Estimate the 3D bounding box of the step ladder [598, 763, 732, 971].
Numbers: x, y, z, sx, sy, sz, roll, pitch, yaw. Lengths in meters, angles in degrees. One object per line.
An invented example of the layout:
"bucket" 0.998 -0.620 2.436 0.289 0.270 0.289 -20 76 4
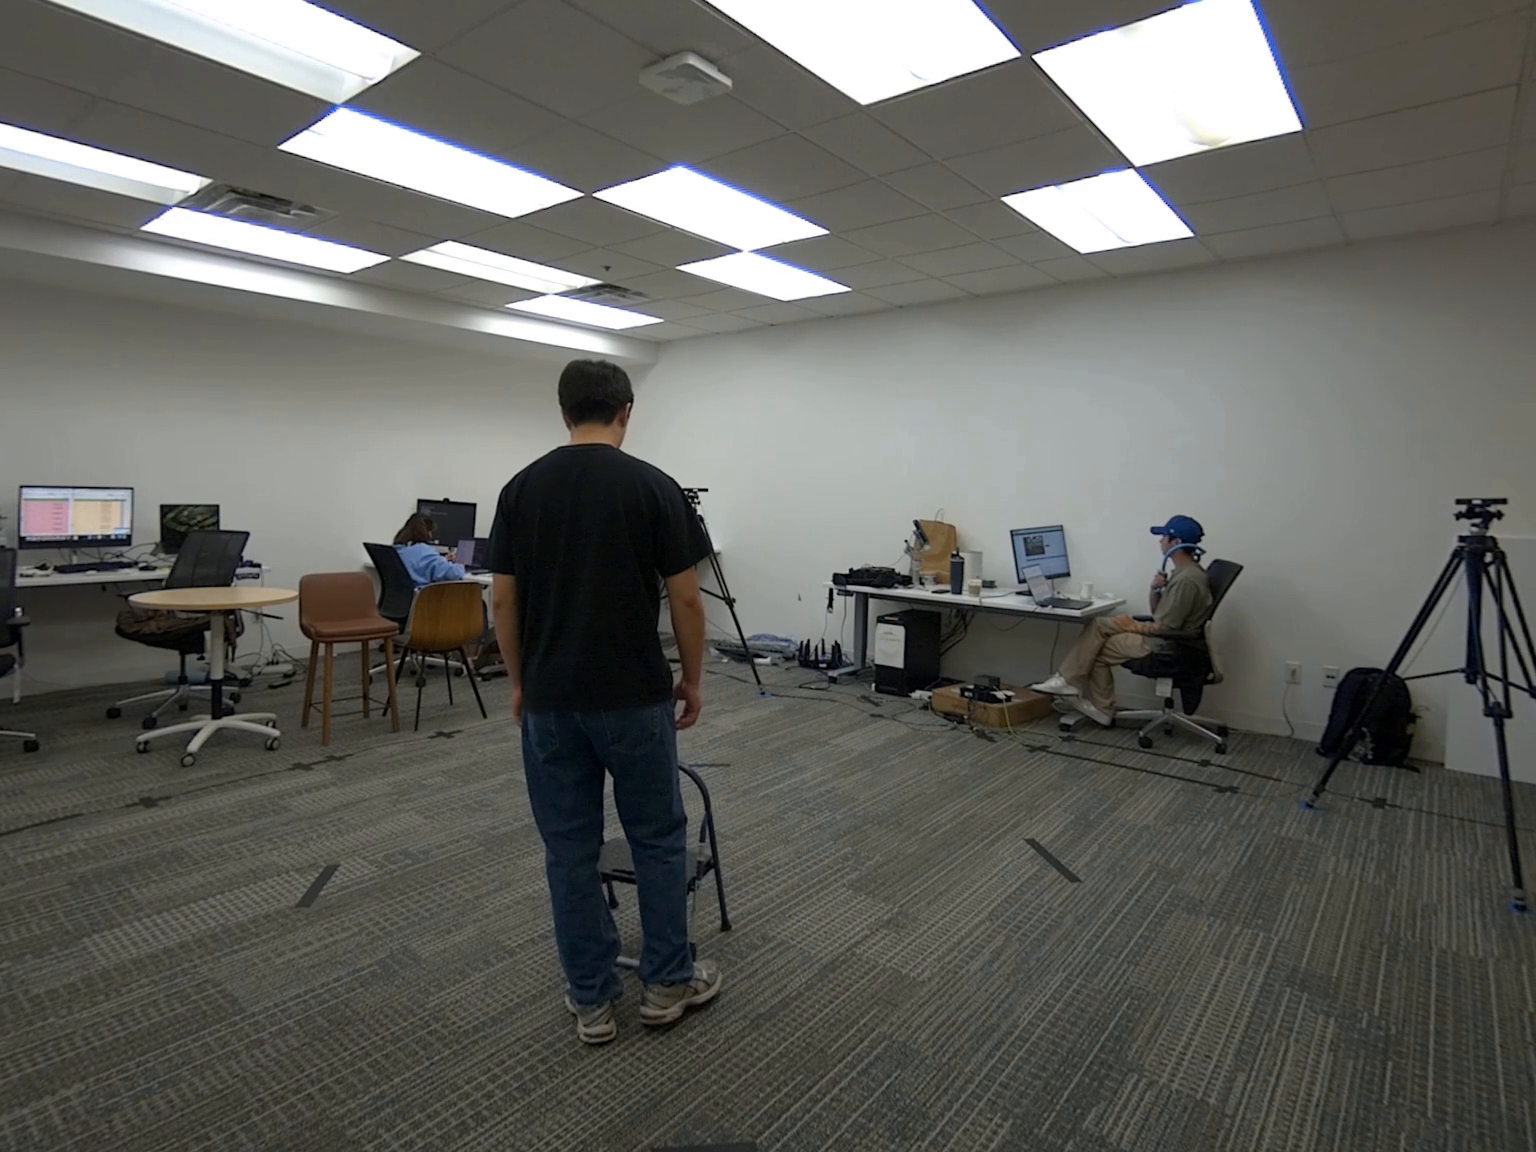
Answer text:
"step ladder" -0.373 0.814 2.598 0.439 0.604 0.343 2 3 18
